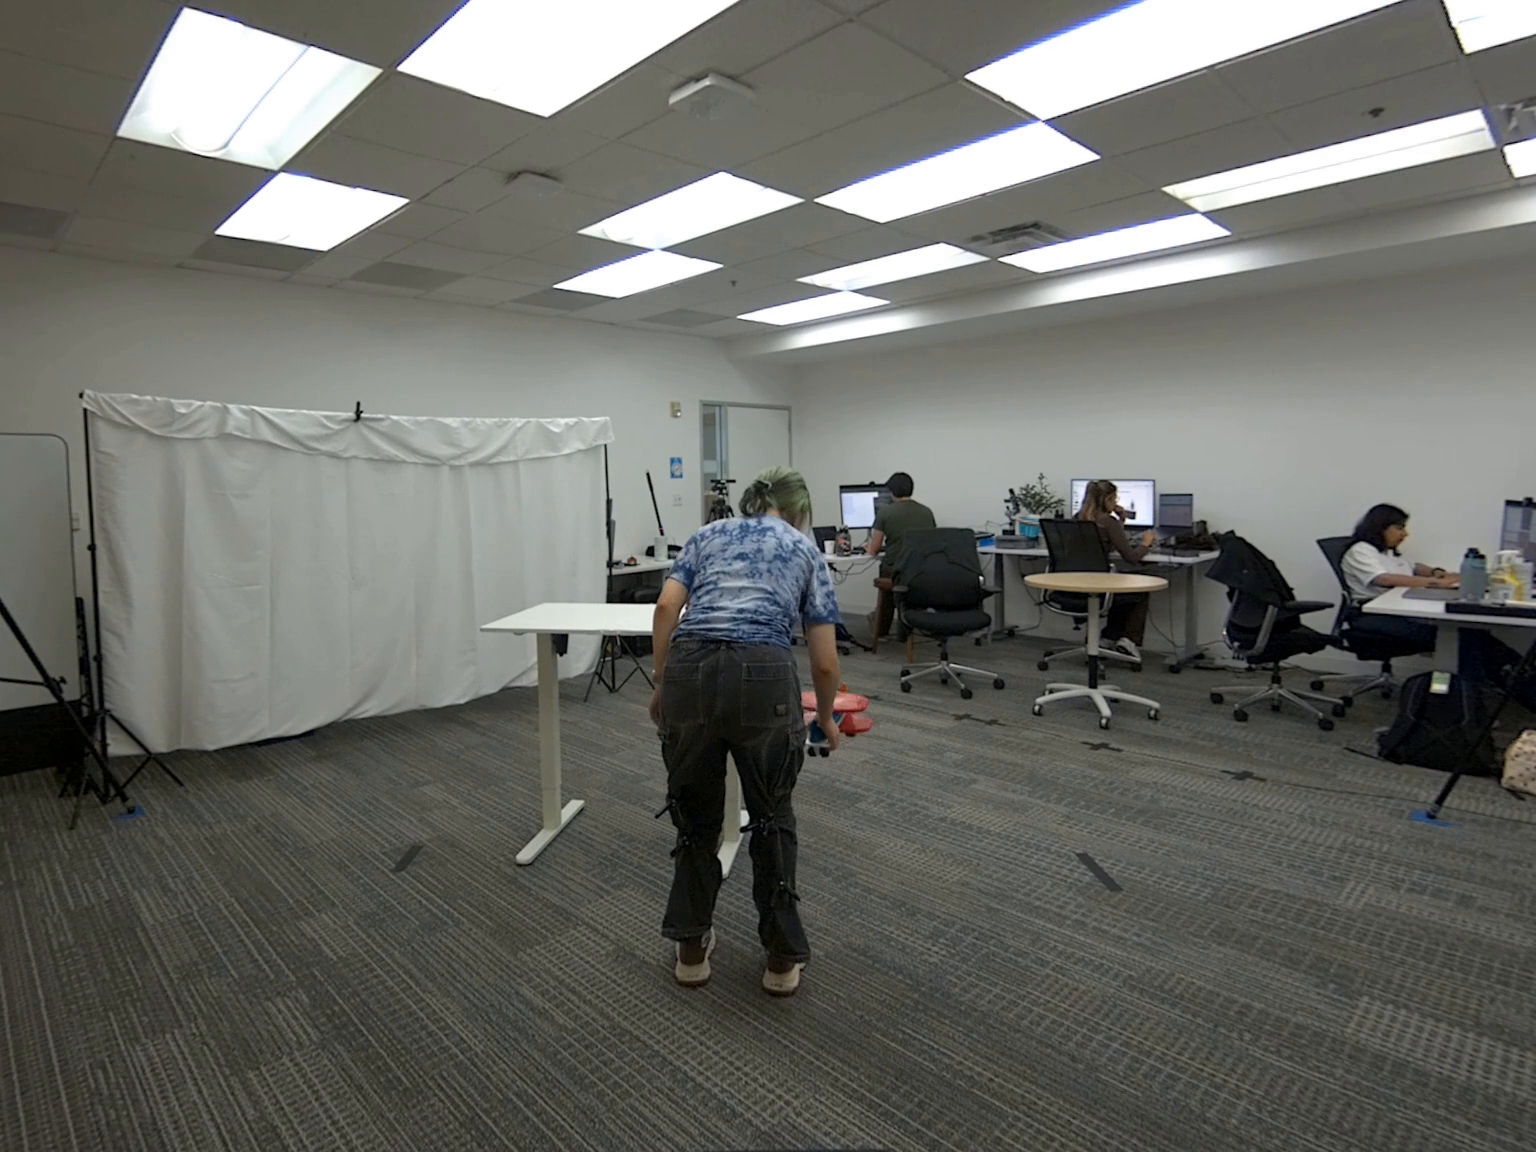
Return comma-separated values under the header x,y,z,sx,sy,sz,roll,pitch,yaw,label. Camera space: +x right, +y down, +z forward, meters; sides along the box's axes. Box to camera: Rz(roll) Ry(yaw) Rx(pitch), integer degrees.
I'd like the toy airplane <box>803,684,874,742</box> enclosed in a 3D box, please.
x,y,z,sx,sy,sz,roll,pitch,yaw,label
0.215,0.468,2.719,0.251,0.155,0.261,-6,9,0,toy airplane
